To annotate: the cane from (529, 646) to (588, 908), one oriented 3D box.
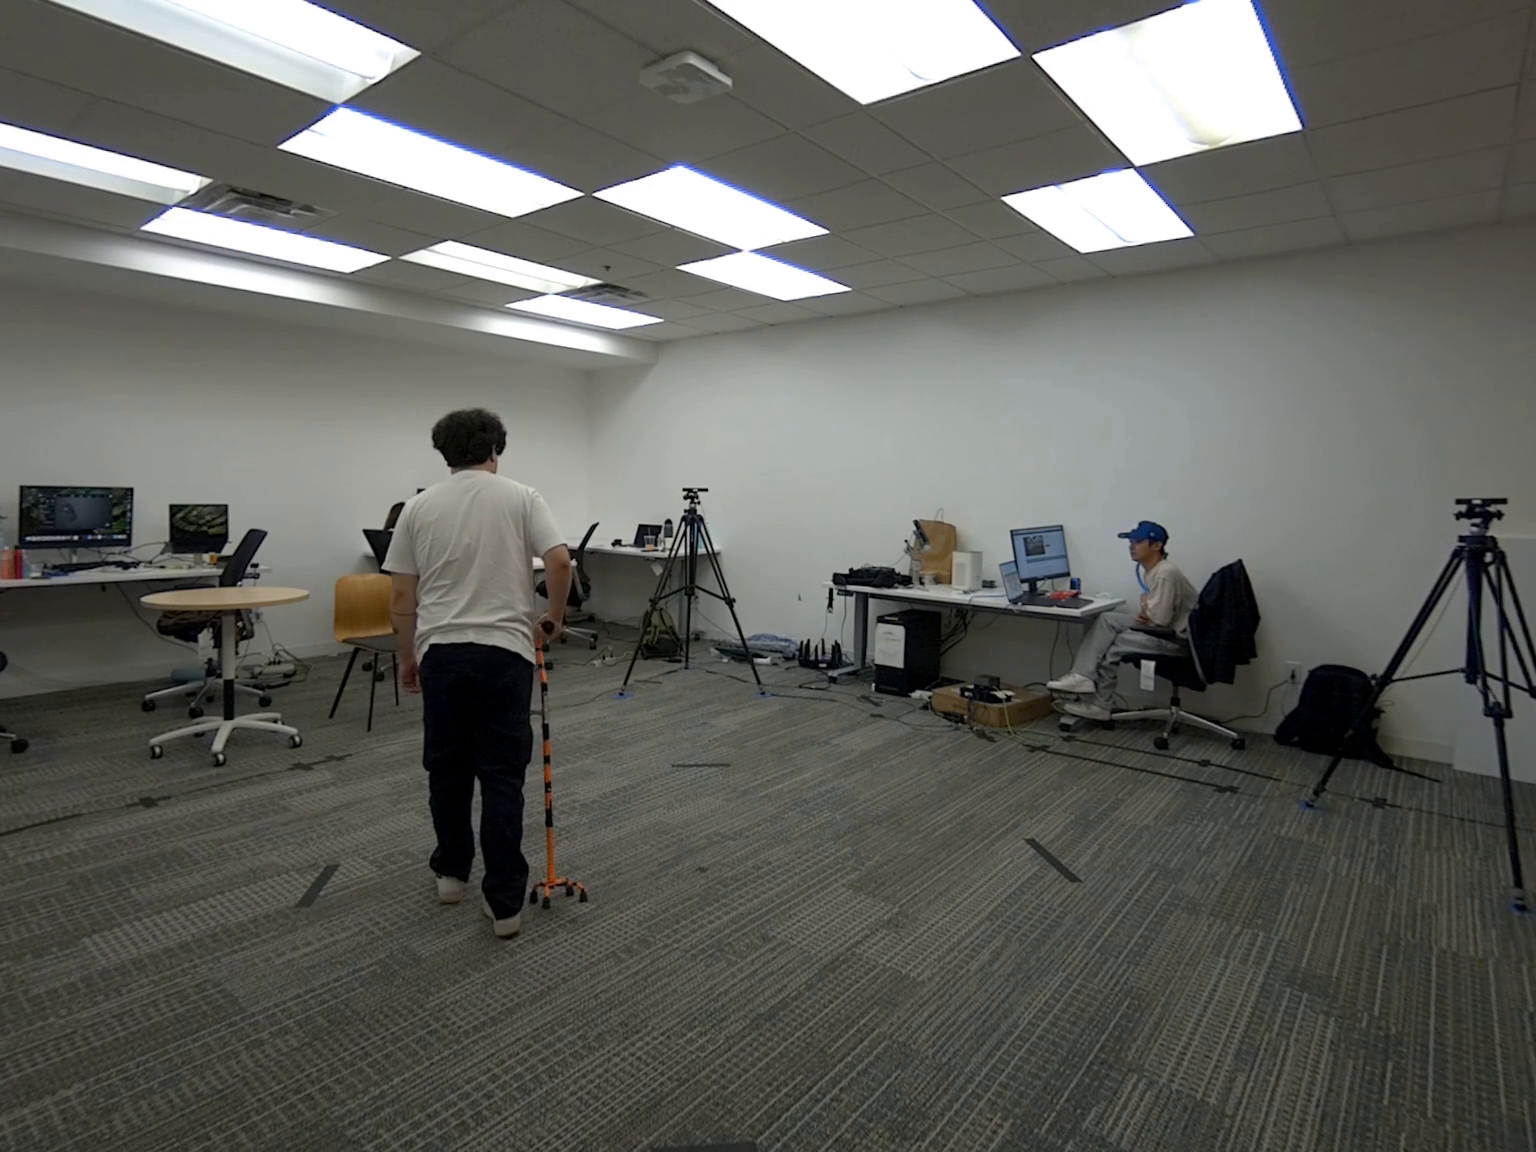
[{"bbox_3d":[-0.736,0.622,2.891,0.147,0.919,0.210,2,-13,-29],"label":"cane"}]
